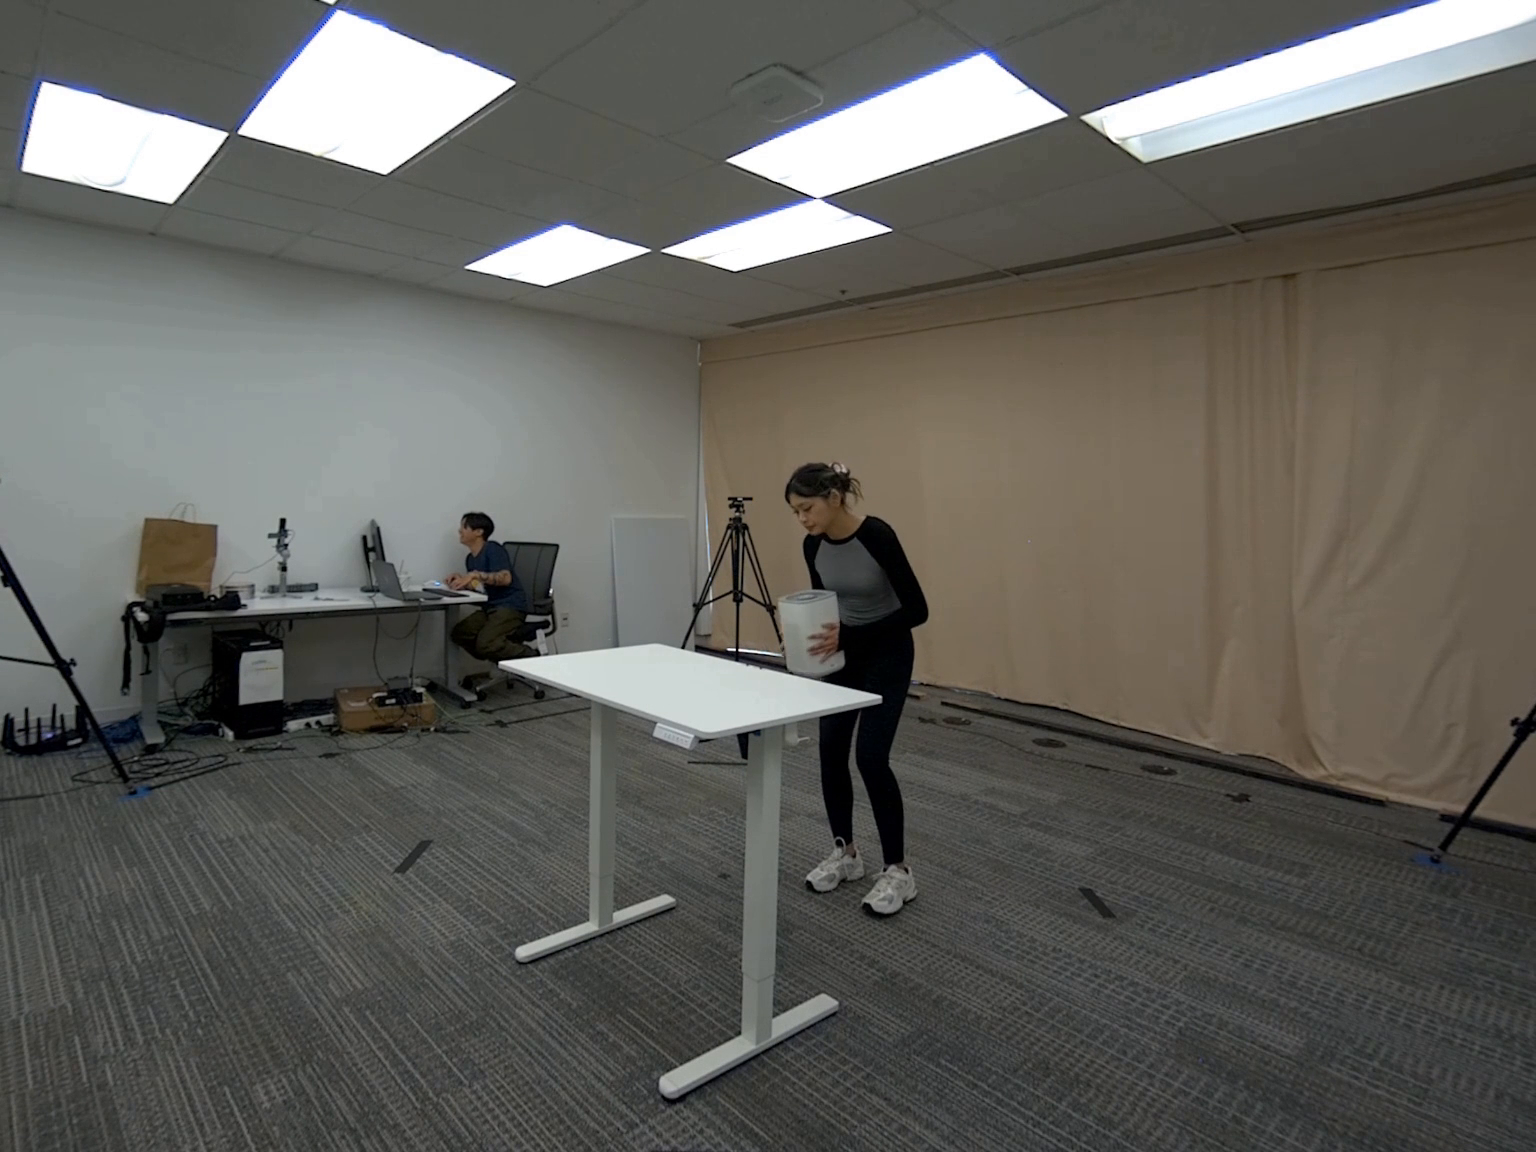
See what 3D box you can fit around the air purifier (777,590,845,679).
[{"bbox_3d":[0.140,0.193,2.849,0.169,0.264,0.174,-10,7,-25],"label":"air purifier"}]
